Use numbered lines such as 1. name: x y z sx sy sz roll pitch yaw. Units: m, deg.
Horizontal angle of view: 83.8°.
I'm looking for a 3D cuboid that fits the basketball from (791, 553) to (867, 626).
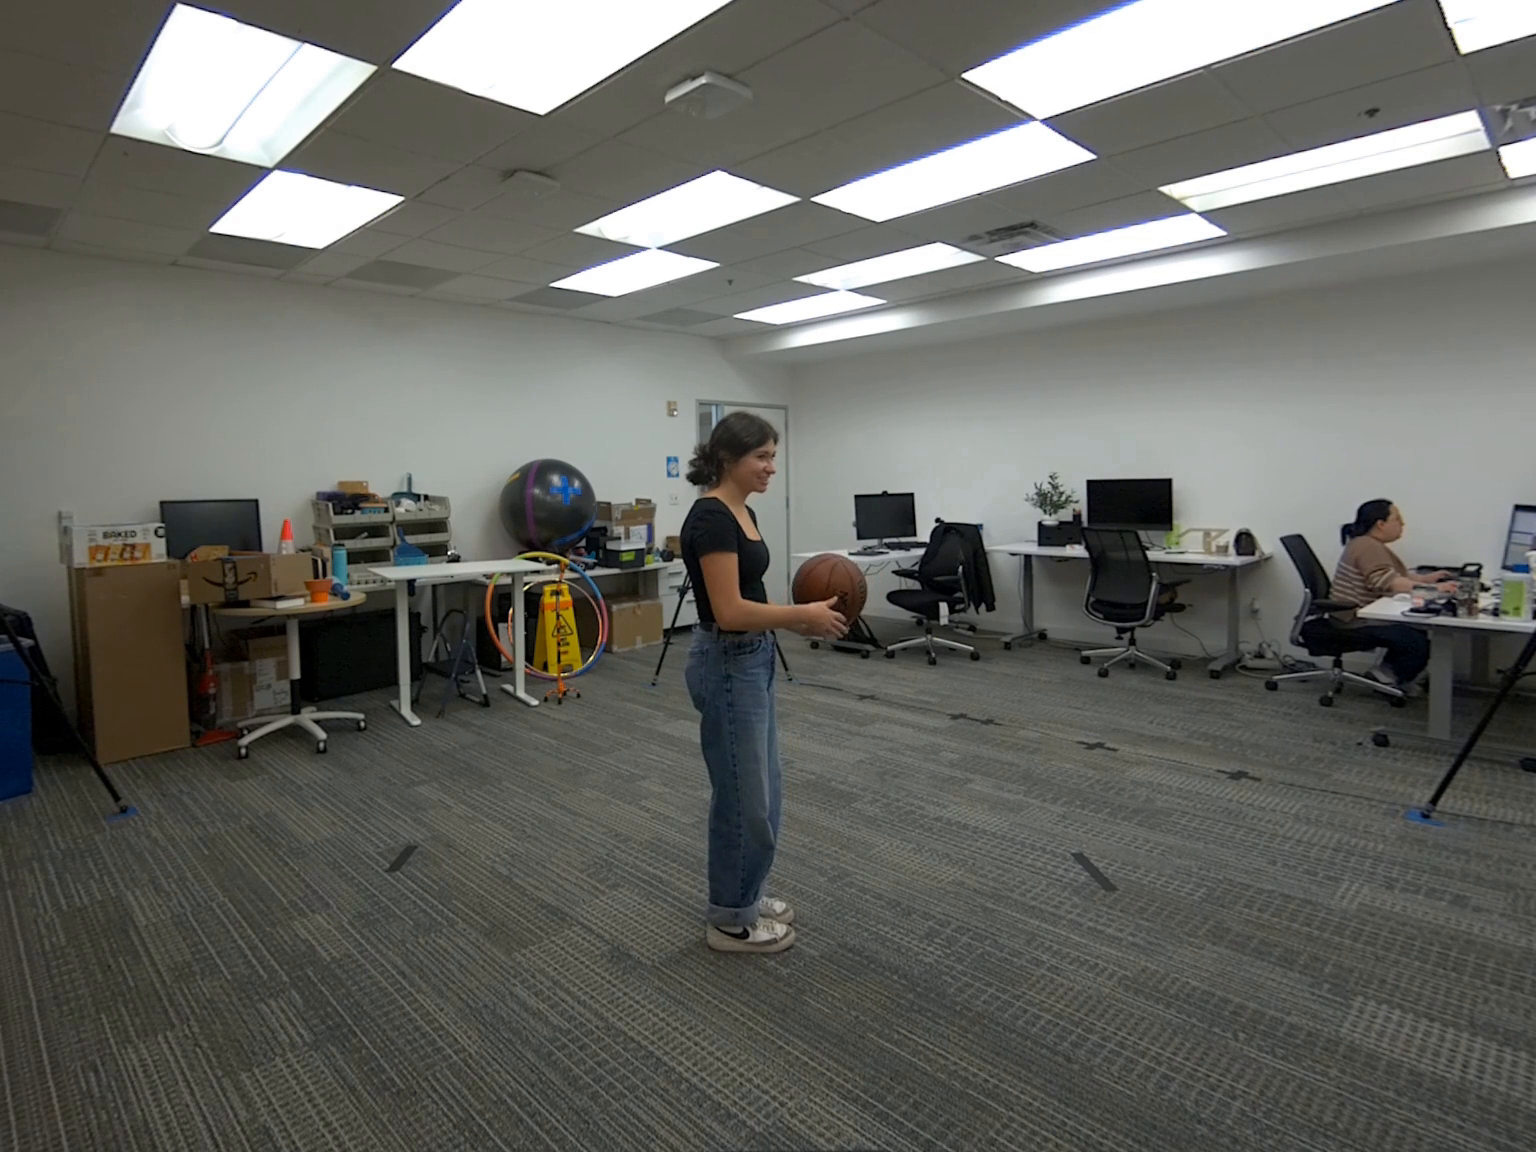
1. basketball: 0.189 0.048 2.702 0.236 0.235 0.237 -1 5 -2
